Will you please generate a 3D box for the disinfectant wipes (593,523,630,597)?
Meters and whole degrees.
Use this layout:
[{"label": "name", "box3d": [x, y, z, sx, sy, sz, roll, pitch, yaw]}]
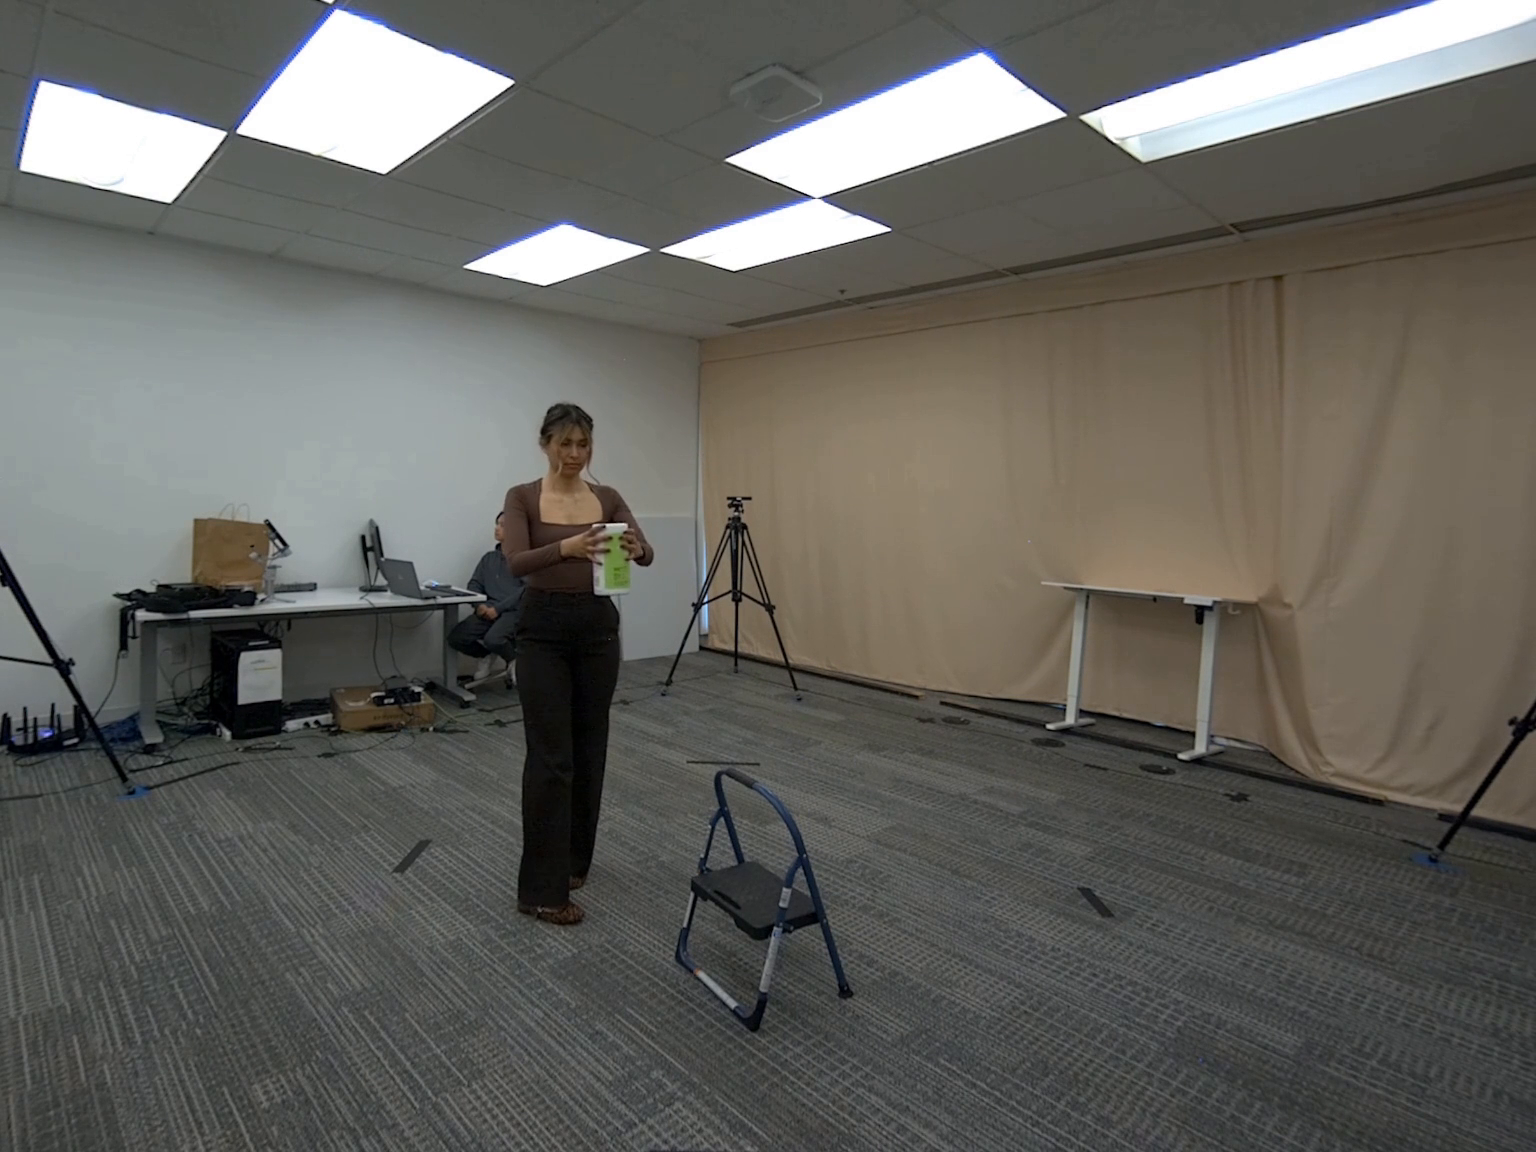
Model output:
[{"label": "disinfectant wipes", "box3d": [-0.489, -0.054, 2.569, 0.118, 0.217, 0.118, -2, 3, -1]}]
